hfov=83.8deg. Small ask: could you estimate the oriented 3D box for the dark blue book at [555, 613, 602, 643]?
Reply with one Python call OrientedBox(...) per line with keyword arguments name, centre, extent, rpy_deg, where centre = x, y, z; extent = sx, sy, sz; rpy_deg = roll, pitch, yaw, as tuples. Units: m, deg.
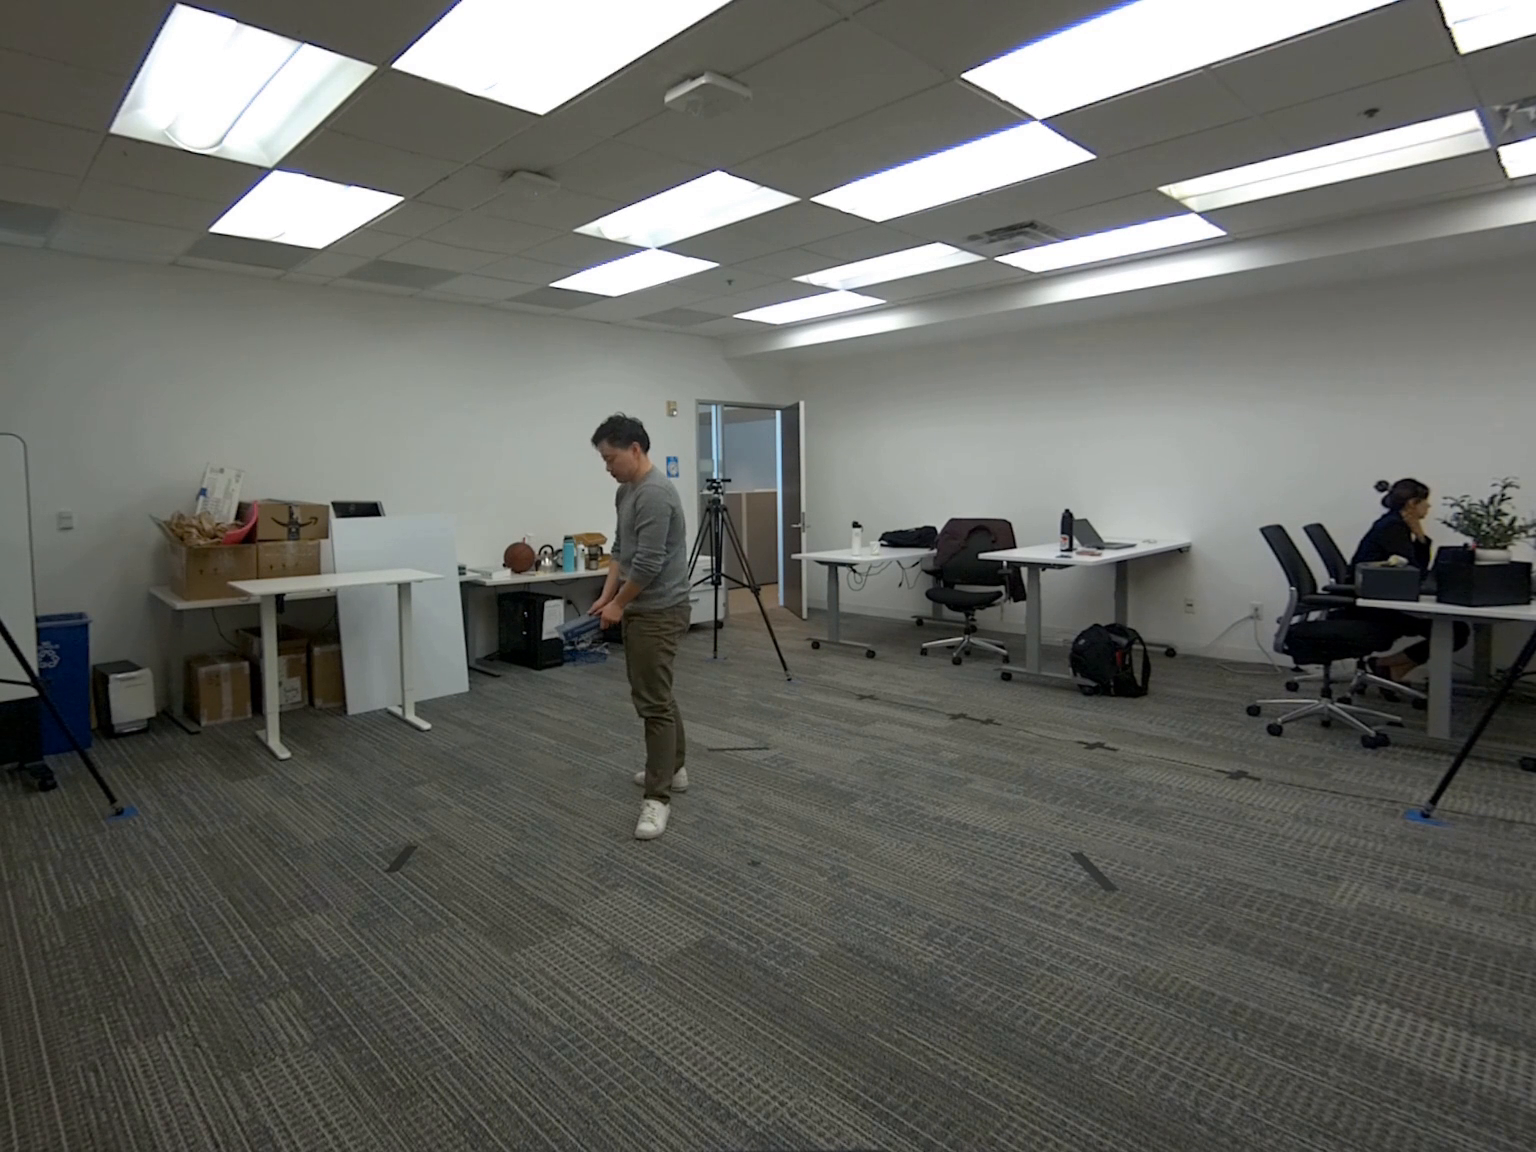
OrientedBox(name="dark blue book", centre=(-0.761, 0.198, 3.578), extent=(0.243, 0.045, 0.166), rpy_deg=(-21, 10, -13))
